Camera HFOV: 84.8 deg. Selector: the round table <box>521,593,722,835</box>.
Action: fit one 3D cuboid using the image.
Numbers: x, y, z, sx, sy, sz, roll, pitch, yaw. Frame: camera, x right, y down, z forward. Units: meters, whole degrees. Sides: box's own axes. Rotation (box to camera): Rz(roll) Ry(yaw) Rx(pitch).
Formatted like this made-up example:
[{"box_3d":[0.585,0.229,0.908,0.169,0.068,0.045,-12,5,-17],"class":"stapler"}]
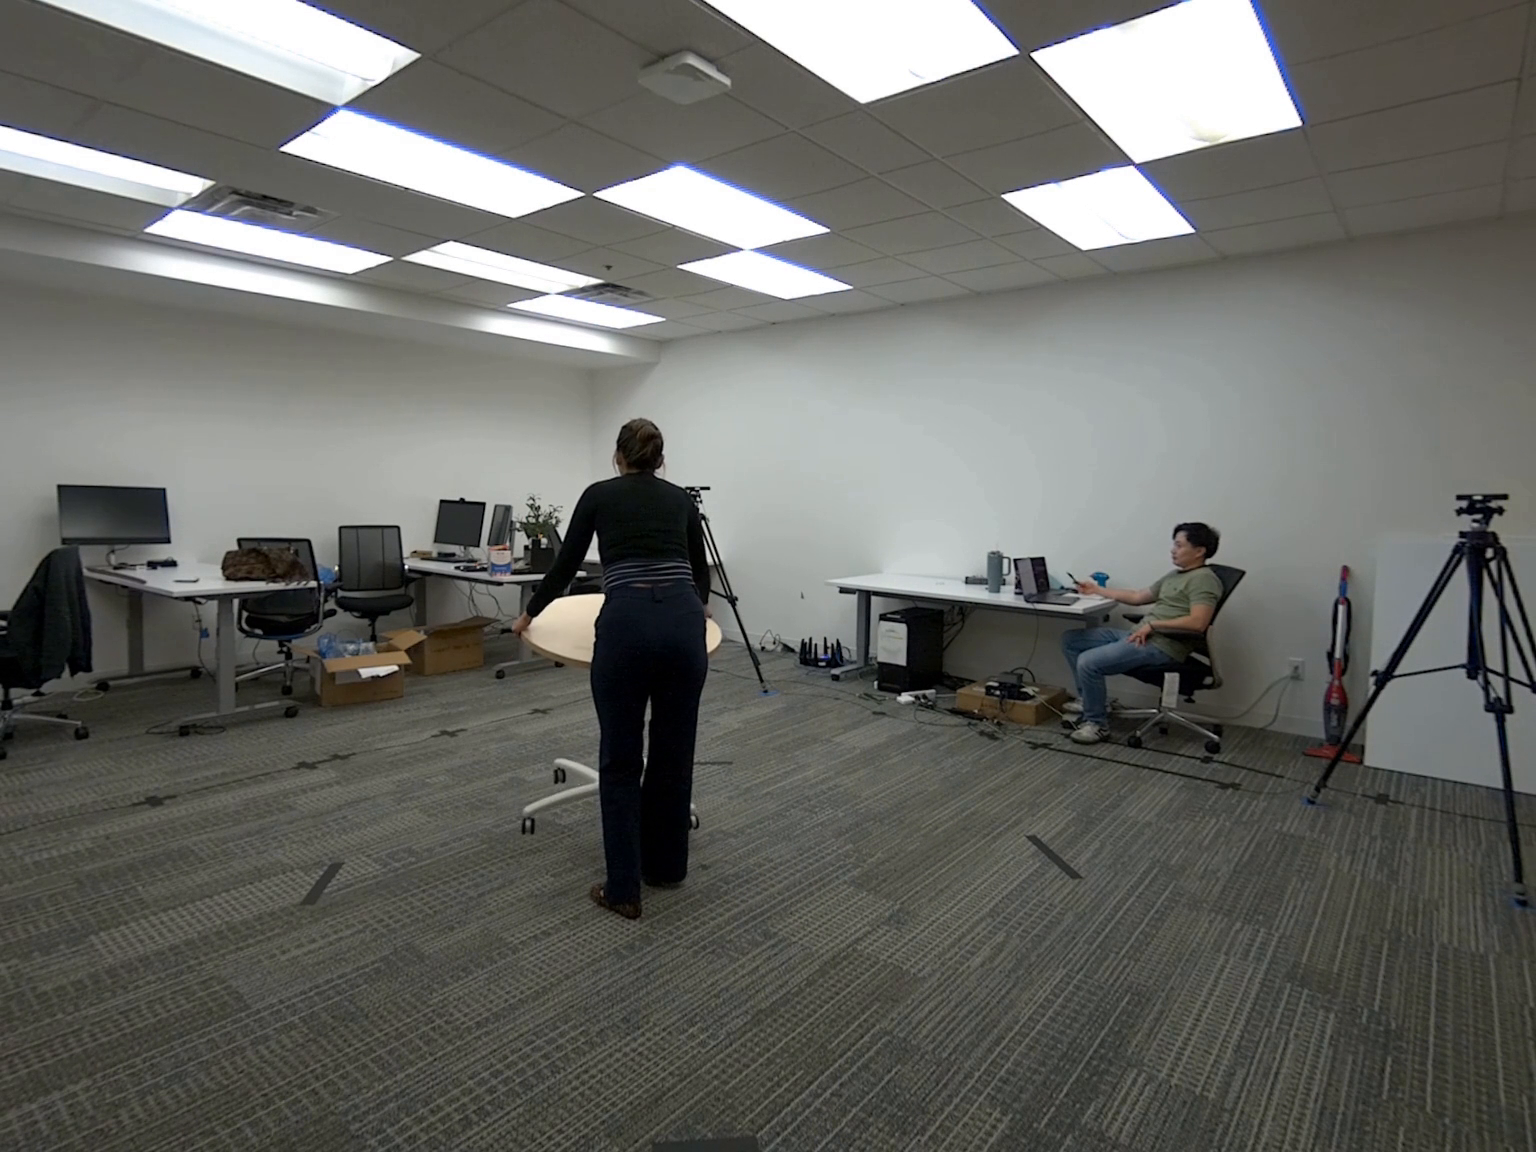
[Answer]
[{"box_3d":[-0.615,0.572,3.335,0.762,0.785,0.775,5,14,-3],"class":"round table"}]
